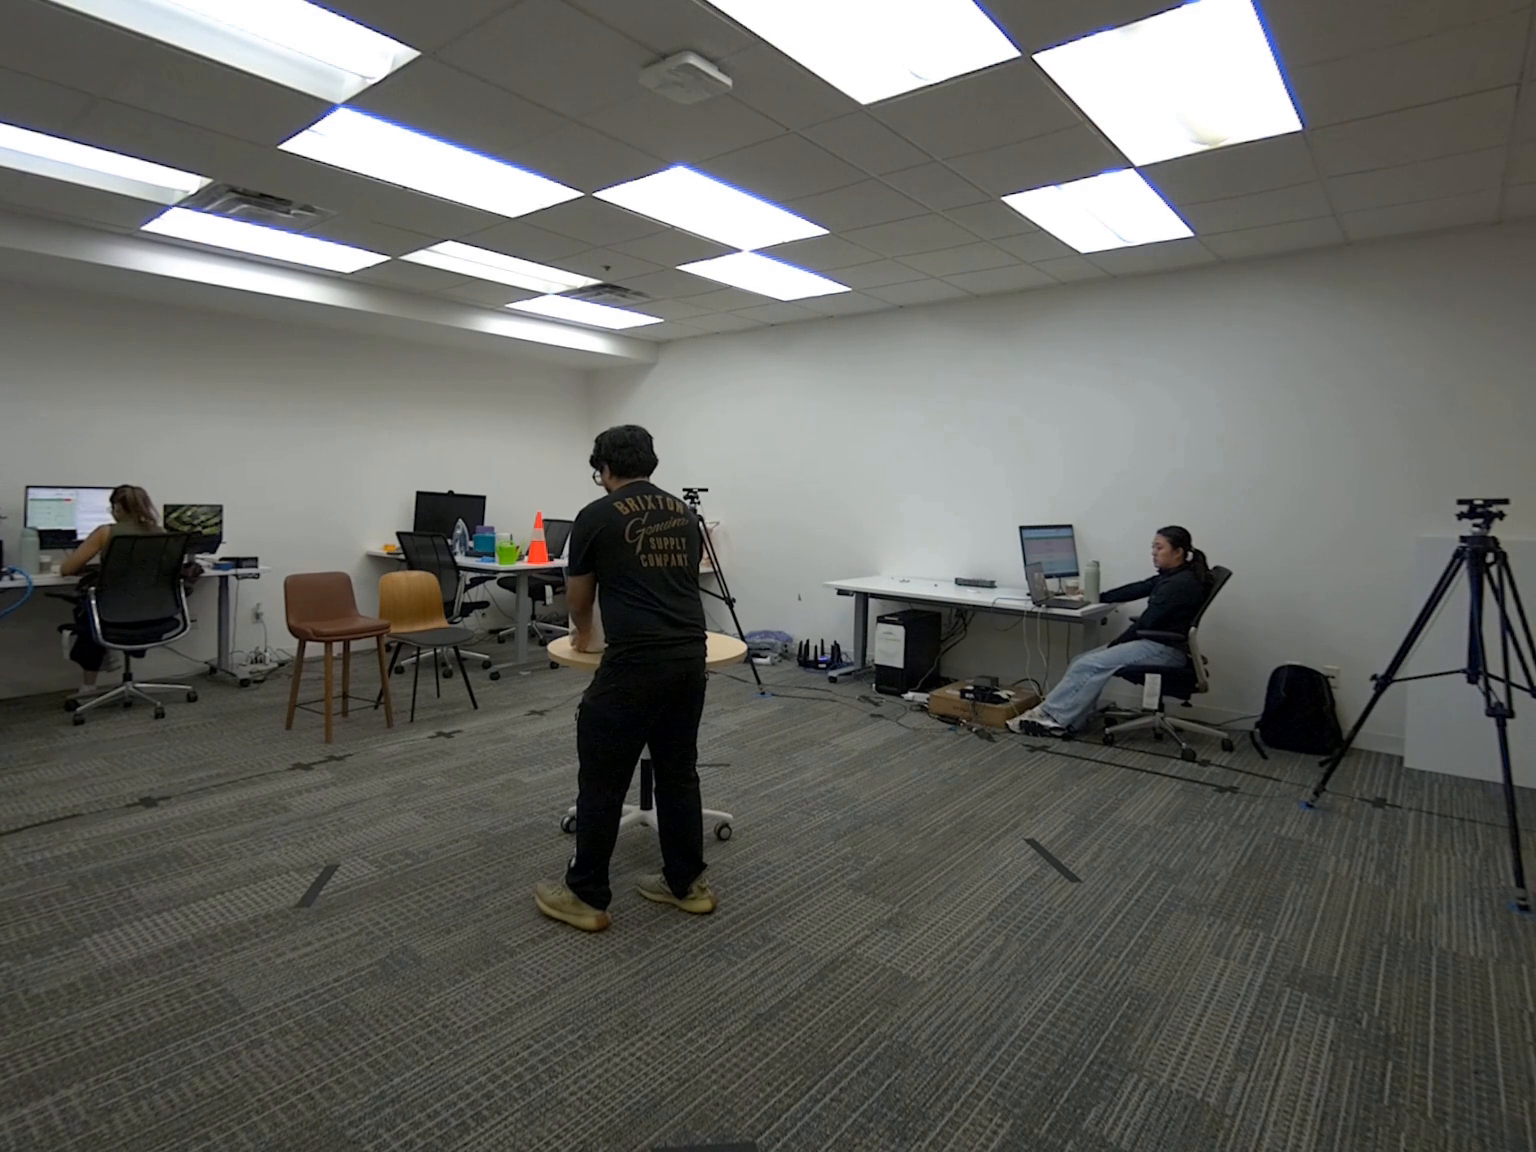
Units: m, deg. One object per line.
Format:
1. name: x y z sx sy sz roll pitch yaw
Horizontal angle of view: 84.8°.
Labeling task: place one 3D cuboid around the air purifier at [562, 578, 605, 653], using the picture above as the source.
1. air purifier: -0.659 0.136 3.190 0.176 0.265 0.166 1 3 41
